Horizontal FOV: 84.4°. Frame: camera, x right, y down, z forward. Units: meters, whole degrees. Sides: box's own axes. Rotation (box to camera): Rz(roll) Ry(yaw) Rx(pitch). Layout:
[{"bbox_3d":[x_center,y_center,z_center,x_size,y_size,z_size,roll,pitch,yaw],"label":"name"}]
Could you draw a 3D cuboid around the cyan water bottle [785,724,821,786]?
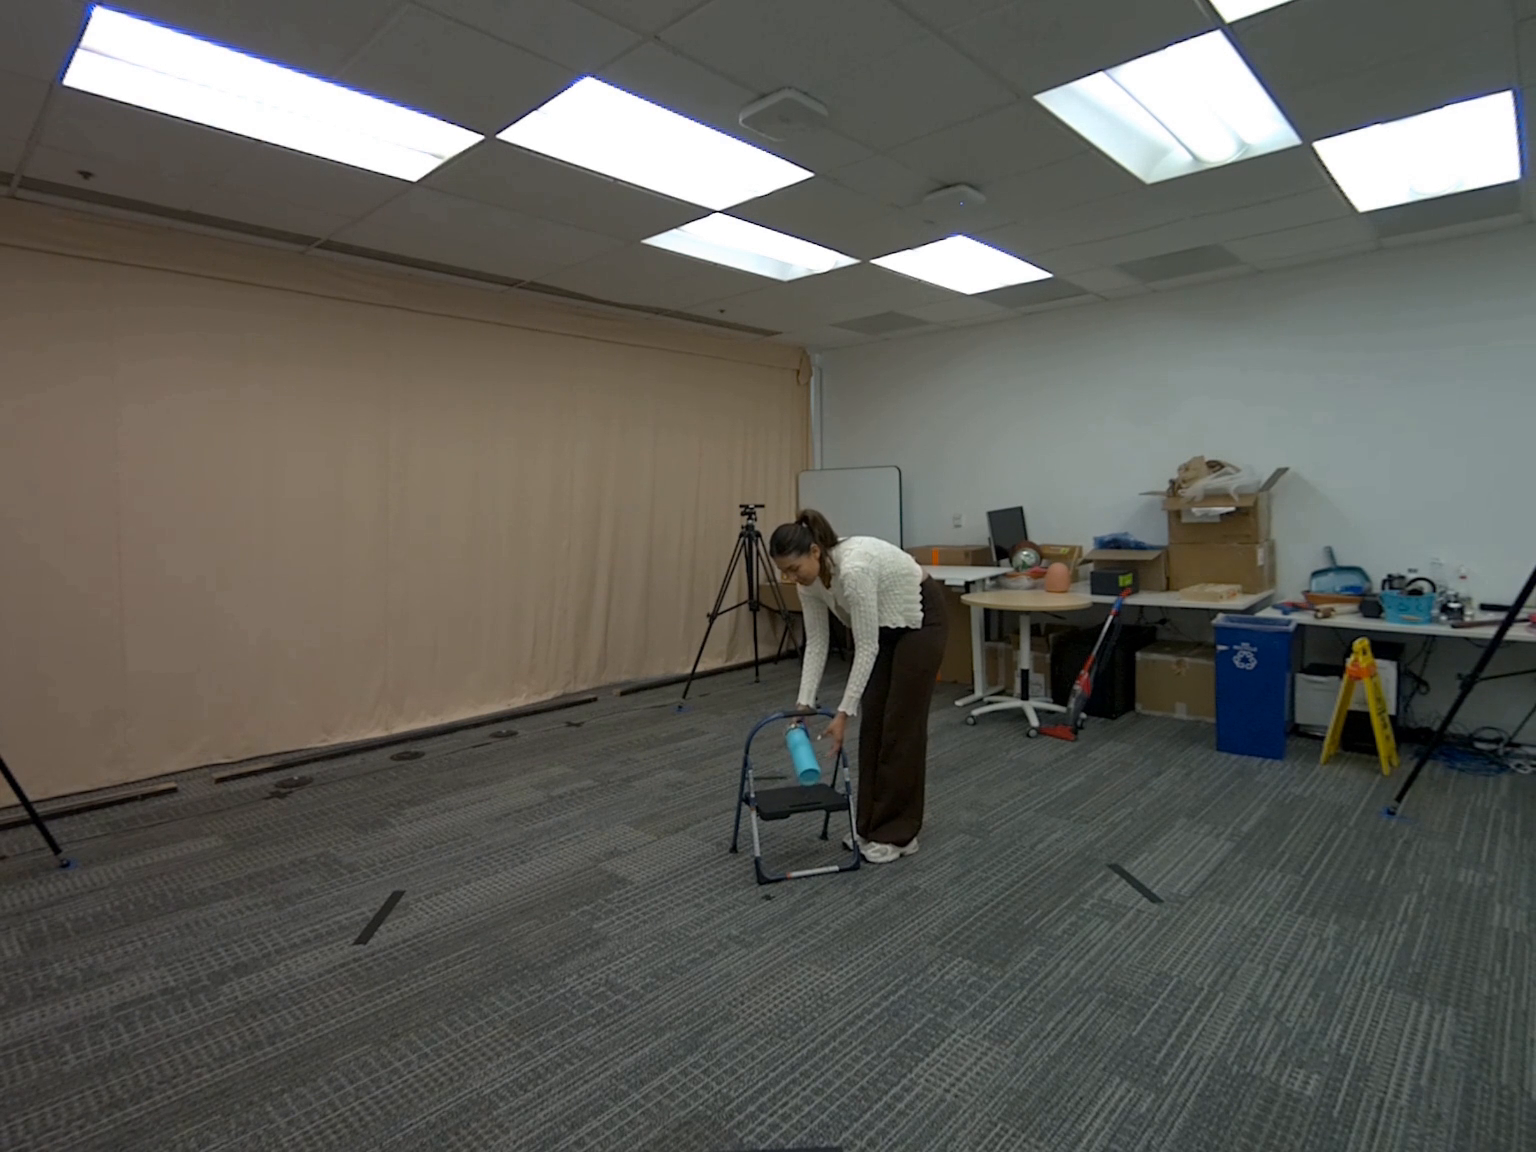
[{"bbox_3d":[0.129,0.658,3.211,0.091,0.091,0.290,-2,29,-10],"label":"cyan water bottle"}]
